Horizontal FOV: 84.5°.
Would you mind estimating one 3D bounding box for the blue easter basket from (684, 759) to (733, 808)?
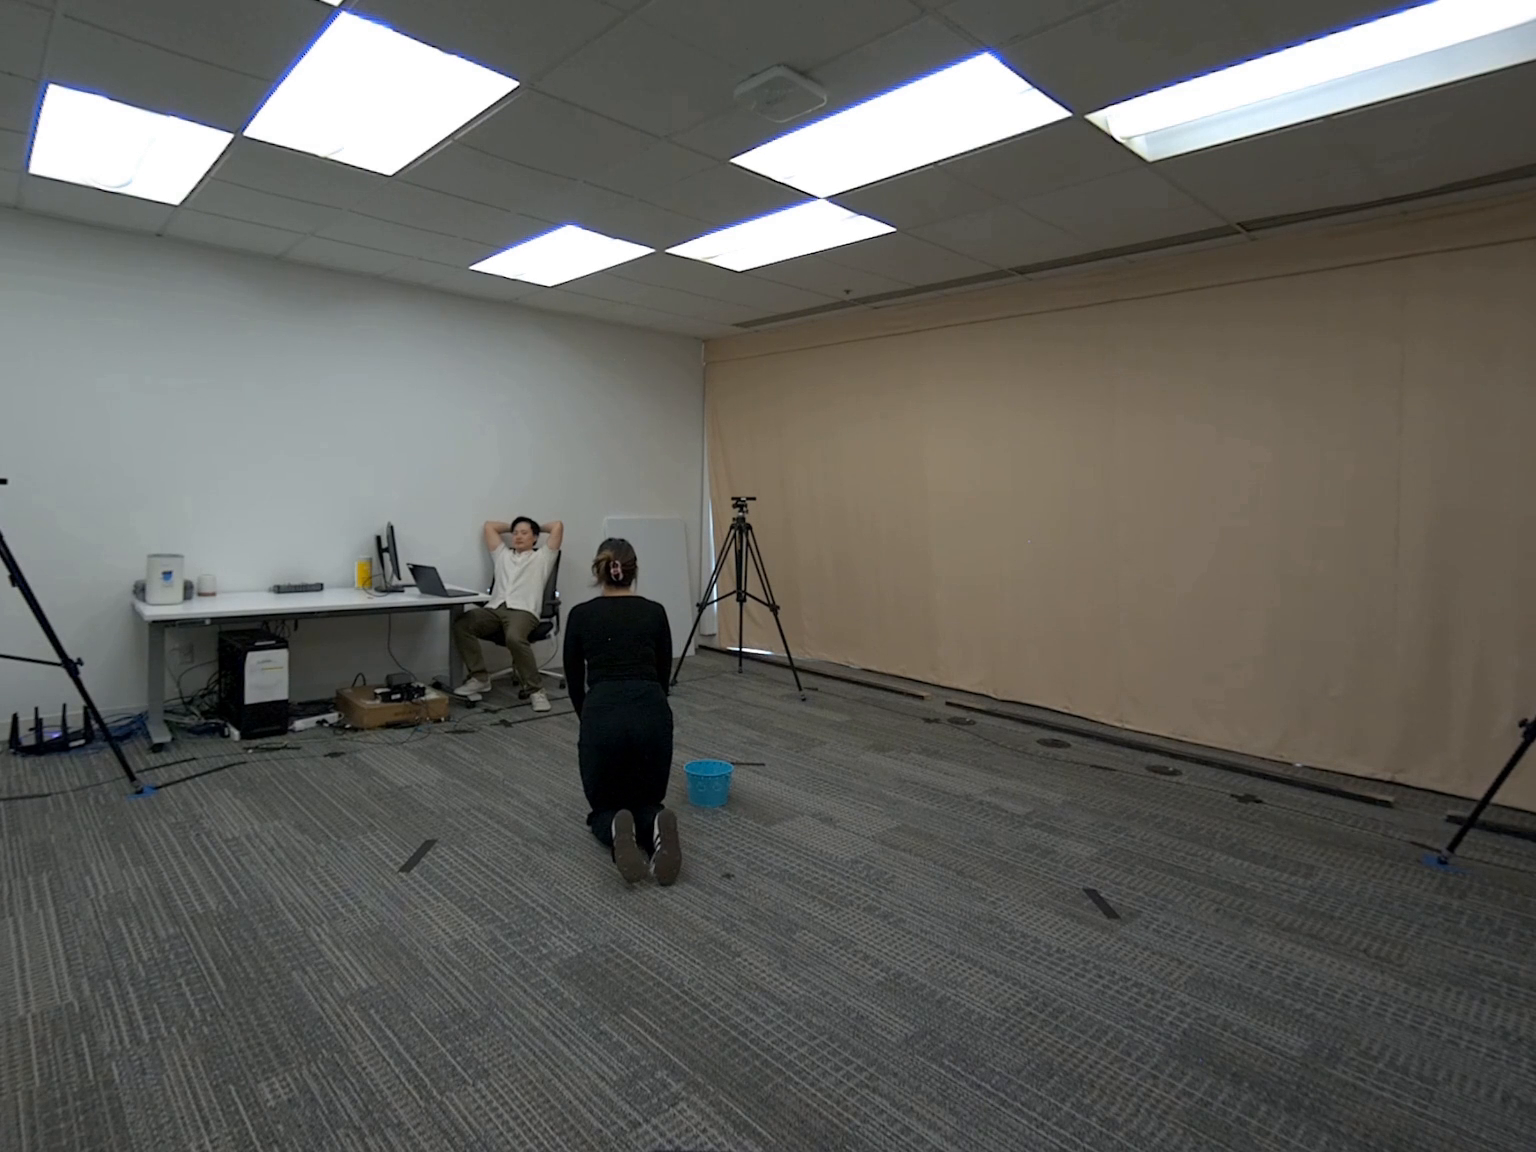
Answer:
[{"bbox_3d":[-0.281,0.958,3.895,0.243,0.155,0.244,1,4,-1],"label":"blue easter basket"}]
